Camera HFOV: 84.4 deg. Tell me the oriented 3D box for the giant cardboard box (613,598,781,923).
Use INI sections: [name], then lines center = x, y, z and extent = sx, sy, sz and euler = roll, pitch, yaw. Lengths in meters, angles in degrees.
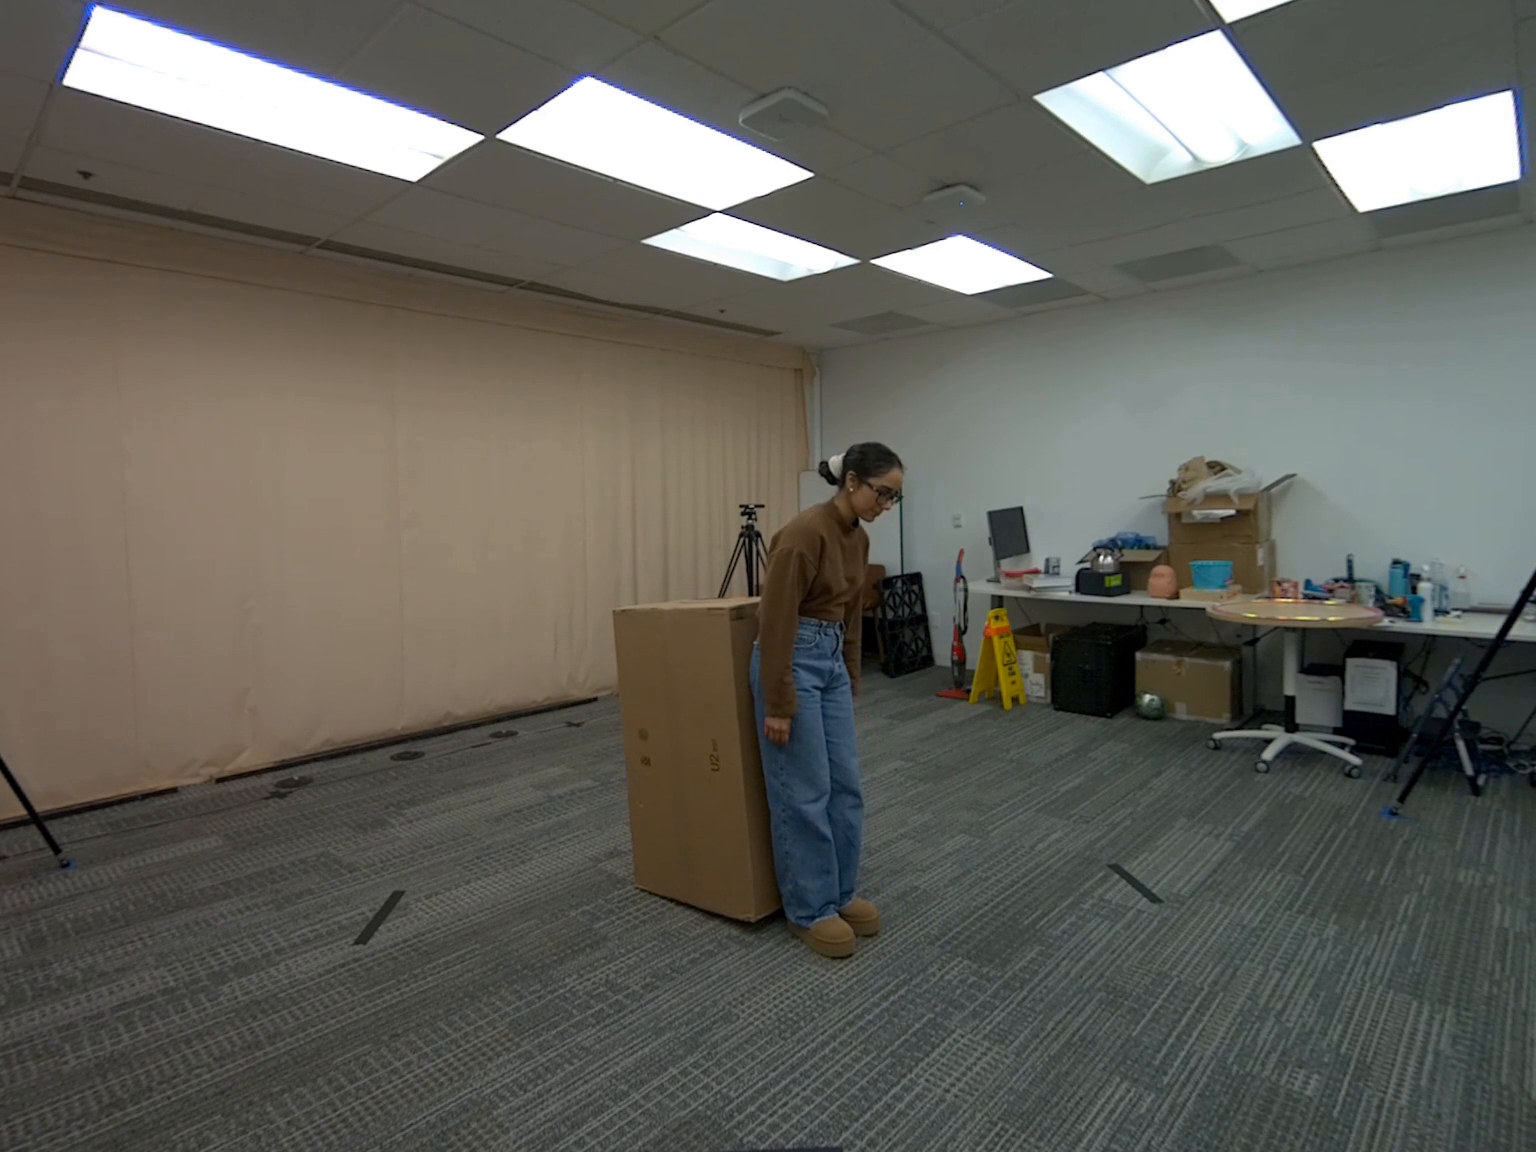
[giant cardboard box]
center = -0.177, 0.608, 3.062
extent = 0.602, 1.027, 0.433
euler = -4, 0, 39
